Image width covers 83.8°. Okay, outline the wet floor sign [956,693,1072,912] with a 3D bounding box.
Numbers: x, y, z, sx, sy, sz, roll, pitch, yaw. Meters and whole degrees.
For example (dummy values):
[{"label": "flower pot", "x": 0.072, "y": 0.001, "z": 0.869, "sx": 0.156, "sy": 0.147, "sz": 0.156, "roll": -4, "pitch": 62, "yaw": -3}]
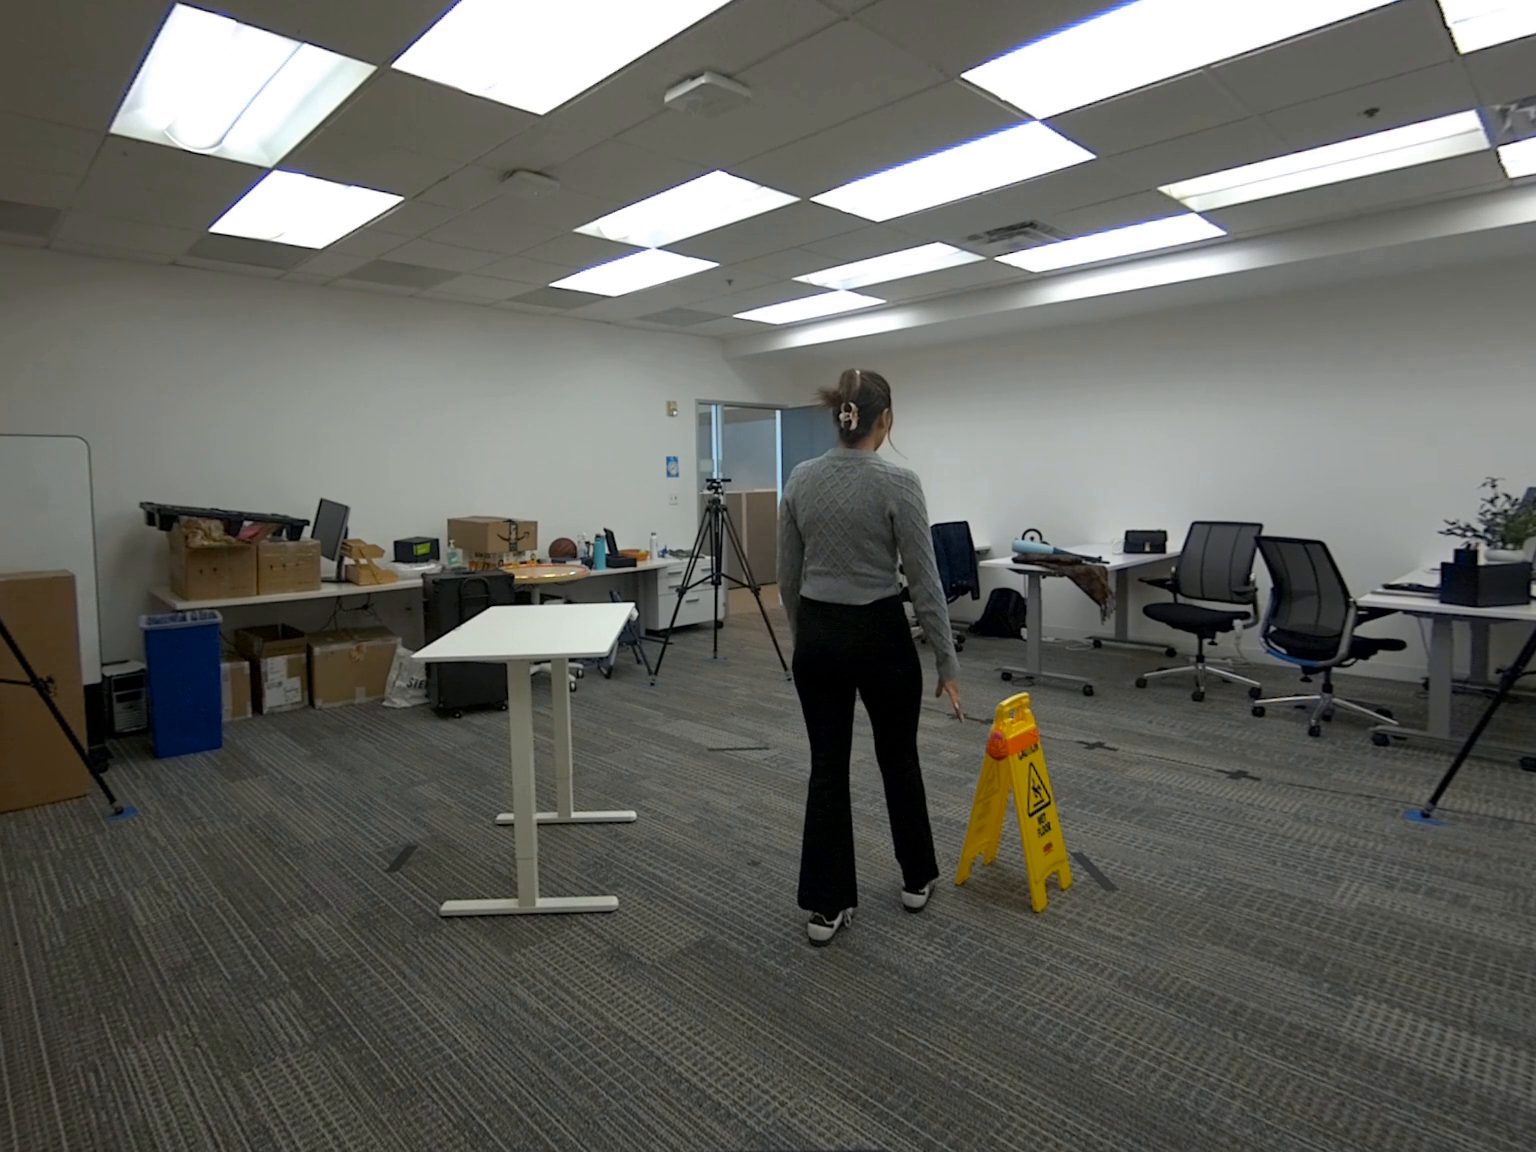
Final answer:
[{"label": "wet floor sign", "x": 0.839, "y": 0.732, "z": 2.893, "sx": 0.299, "sy": 0.643, "sz": 0.275, "roll": 4, "pitch": 6, "yaw": 42}]
